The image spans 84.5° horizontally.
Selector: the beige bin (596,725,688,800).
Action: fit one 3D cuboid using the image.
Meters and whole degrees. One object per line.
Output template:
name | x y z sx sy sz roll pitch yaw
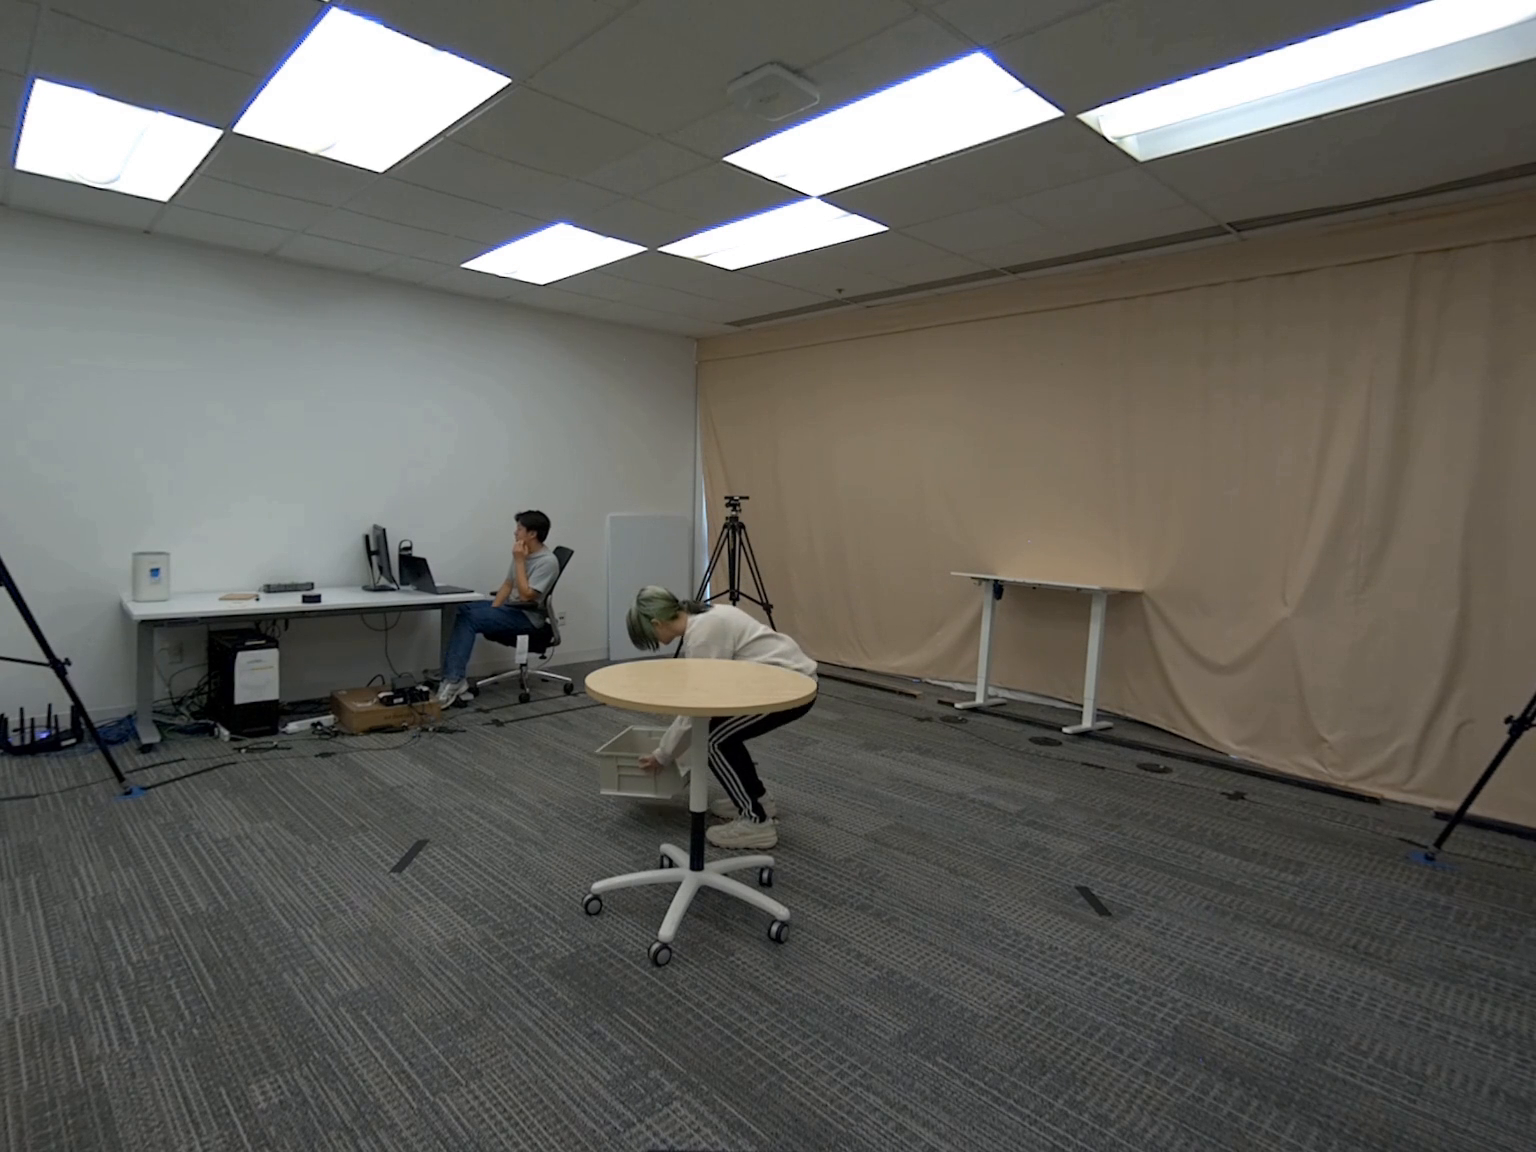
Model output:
beige bin | -0.502 0.798 3.653 0.381 0.188 0.419 -2 5 12
